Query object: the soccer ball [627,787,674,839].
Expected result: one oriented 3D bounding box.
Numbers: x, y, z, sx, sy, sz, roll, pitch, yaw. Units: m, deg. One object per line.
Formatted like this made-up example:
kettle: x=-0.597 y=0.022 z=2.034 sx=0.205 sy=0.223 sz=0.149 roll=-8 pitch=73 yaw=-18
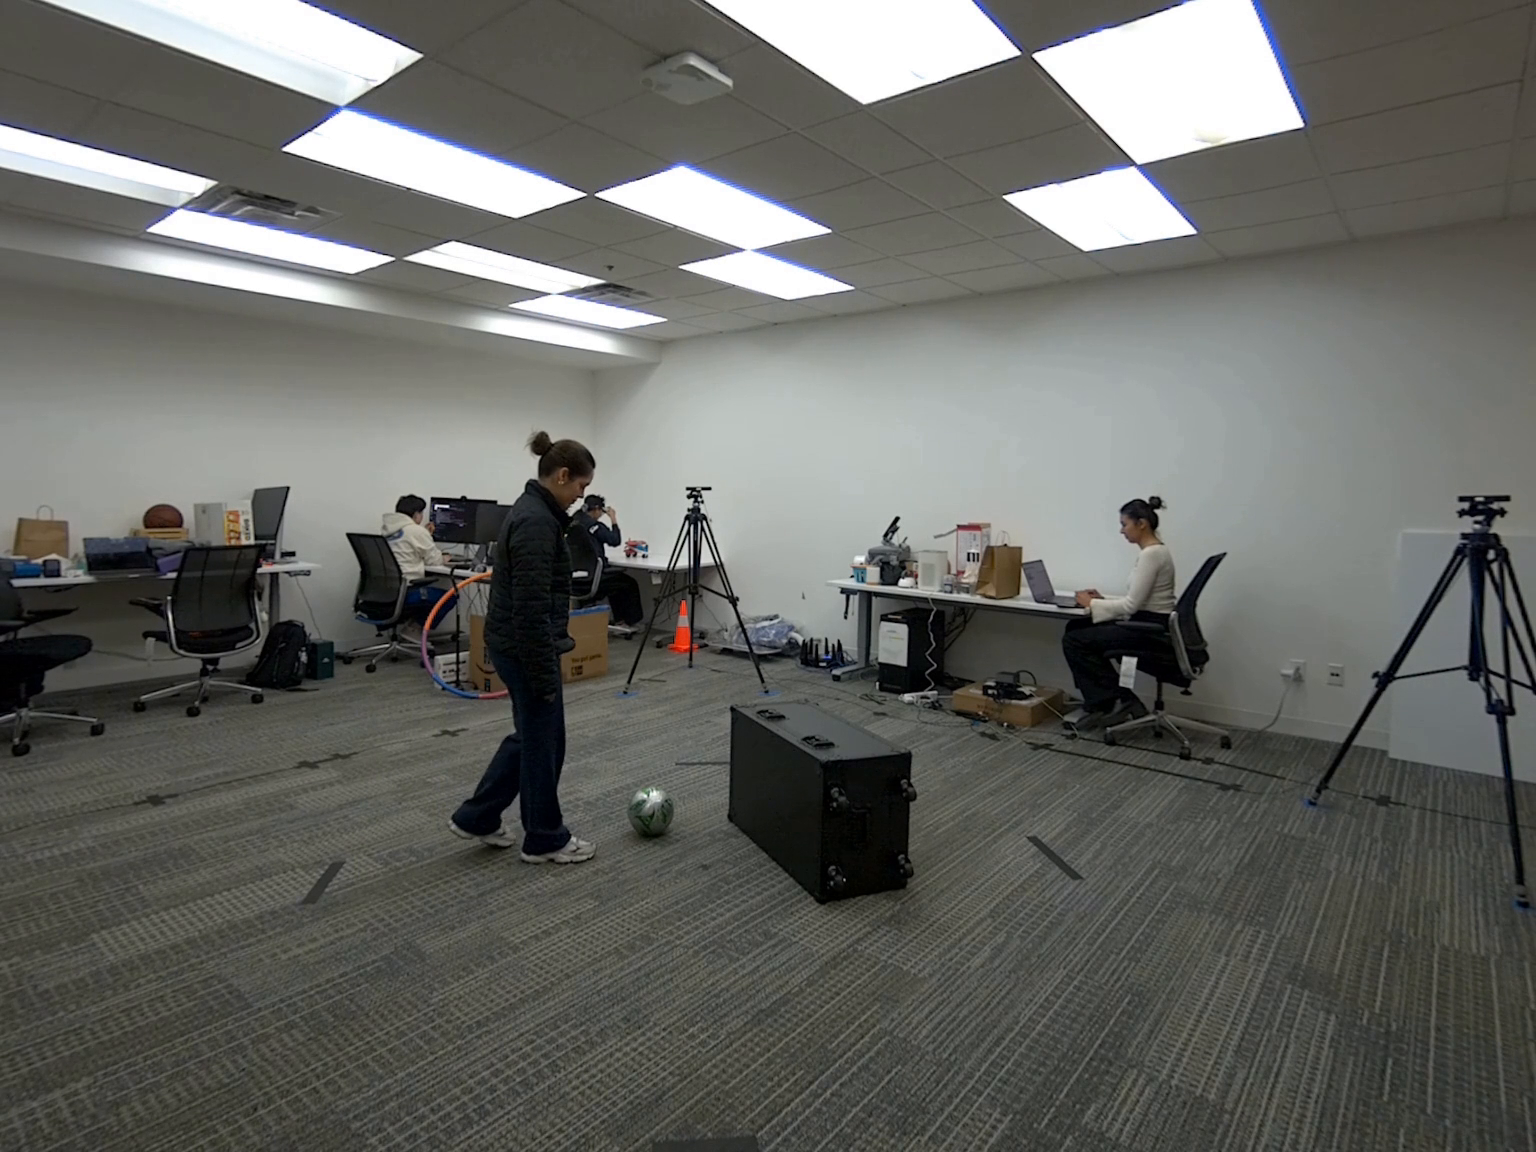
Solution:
soccer ball: x=-0.483 y=0.945 z=3.419 sx=0.187 sy=0.187 sz=0.188 roll=1 pitch=4 yaw=-2
